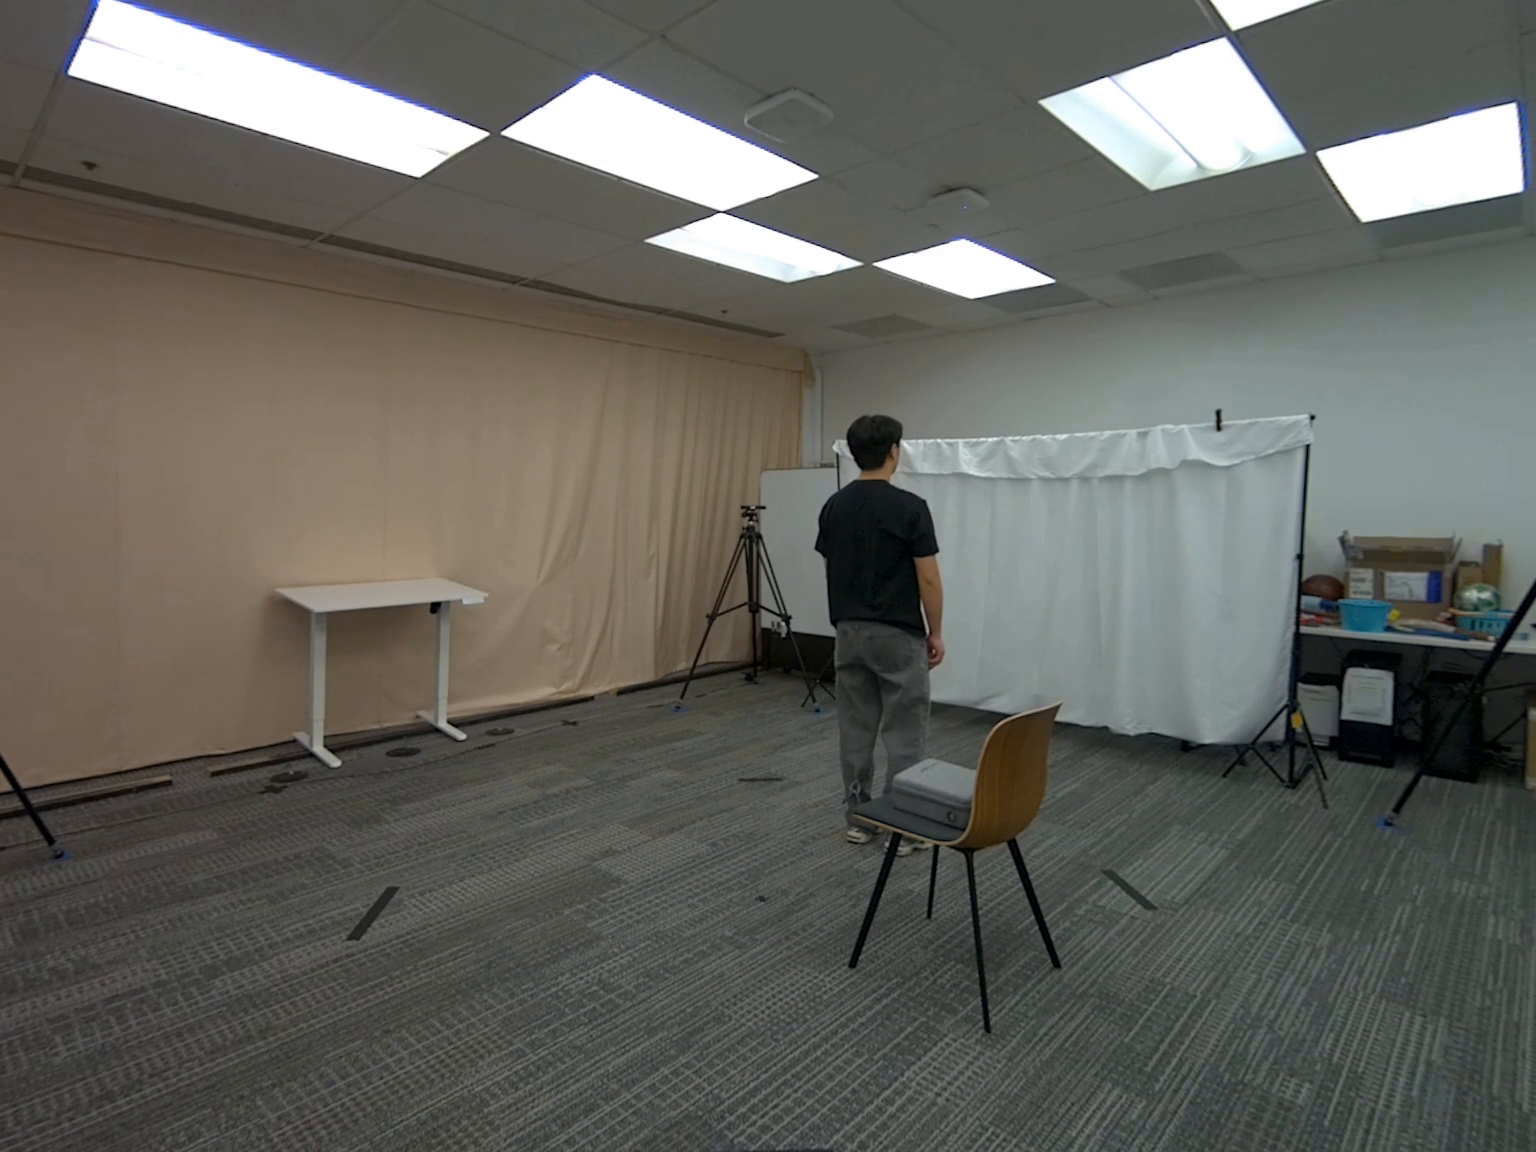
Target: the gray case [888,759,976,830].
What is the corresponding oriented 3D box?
[{"bbox_3d":[0.549,0.646,2.523,0.297,0.103,0.255,8,9,38],"label":"gray case"}]
